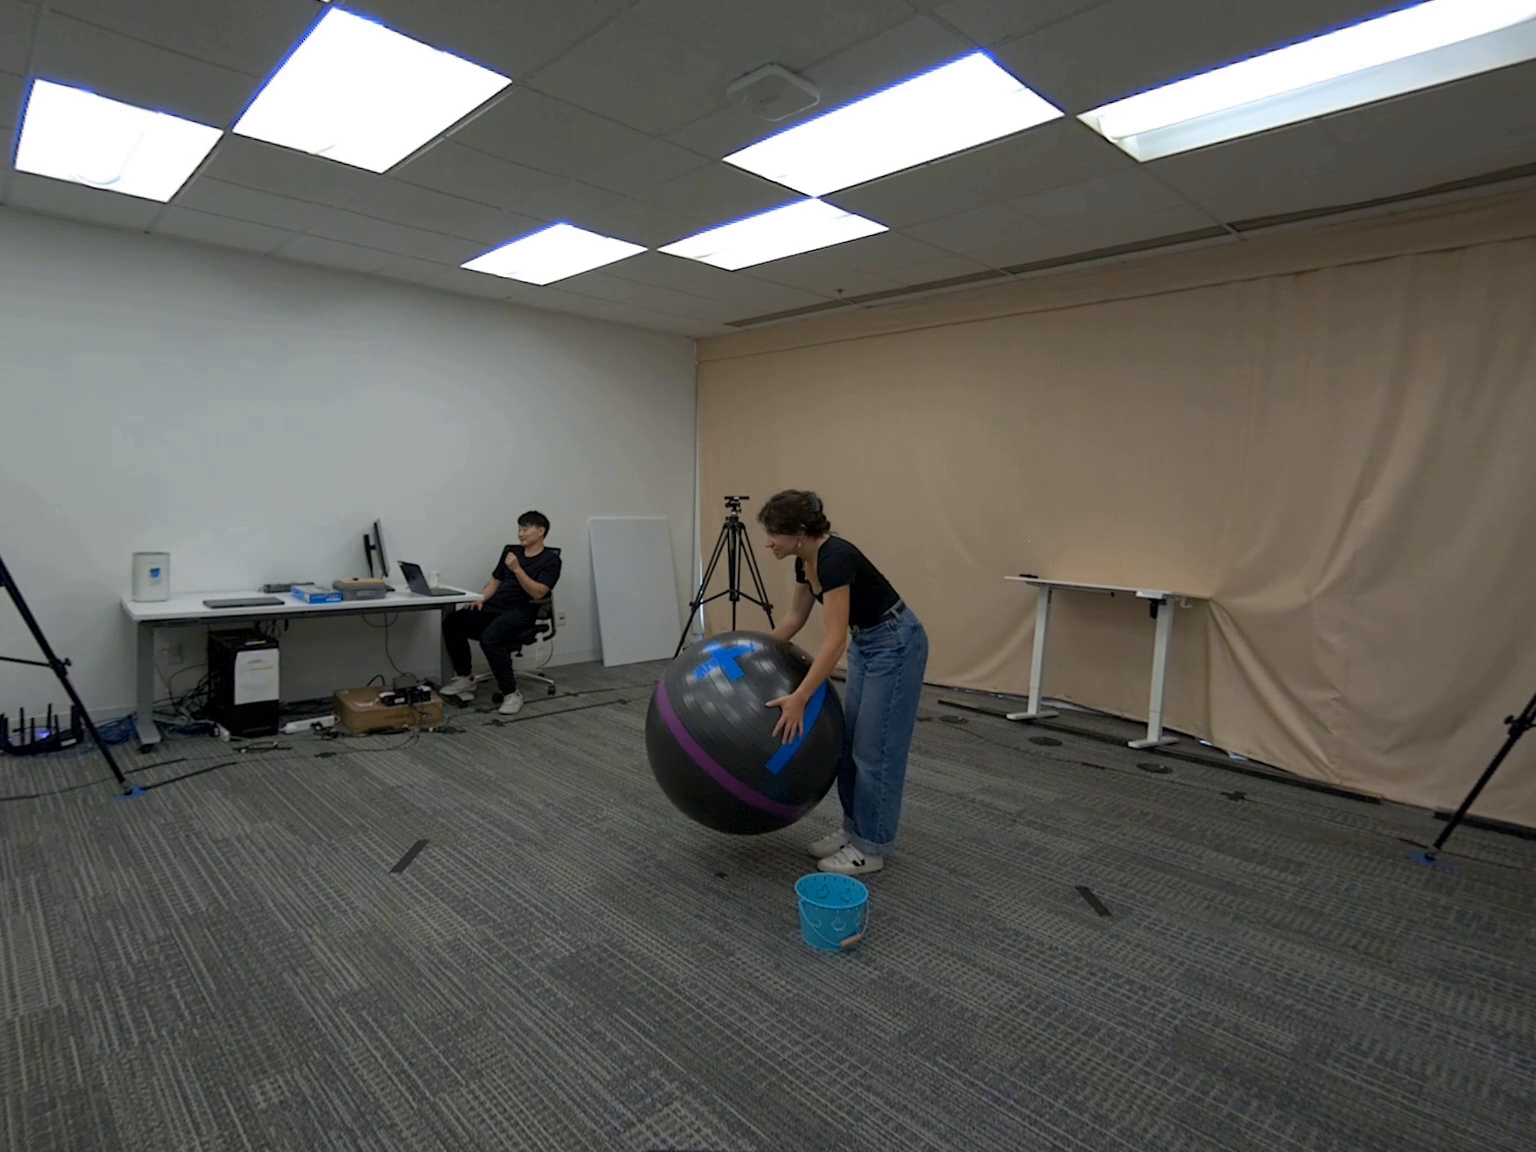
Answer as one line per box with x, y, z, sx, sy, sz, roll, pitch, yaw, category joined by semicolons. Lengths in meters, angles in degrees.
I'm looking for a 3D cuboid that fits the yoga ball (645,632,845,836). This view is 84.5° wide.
-0.102;0.601;3.209;0.757;0.756;0.761;1;4;-1;yoga ball
